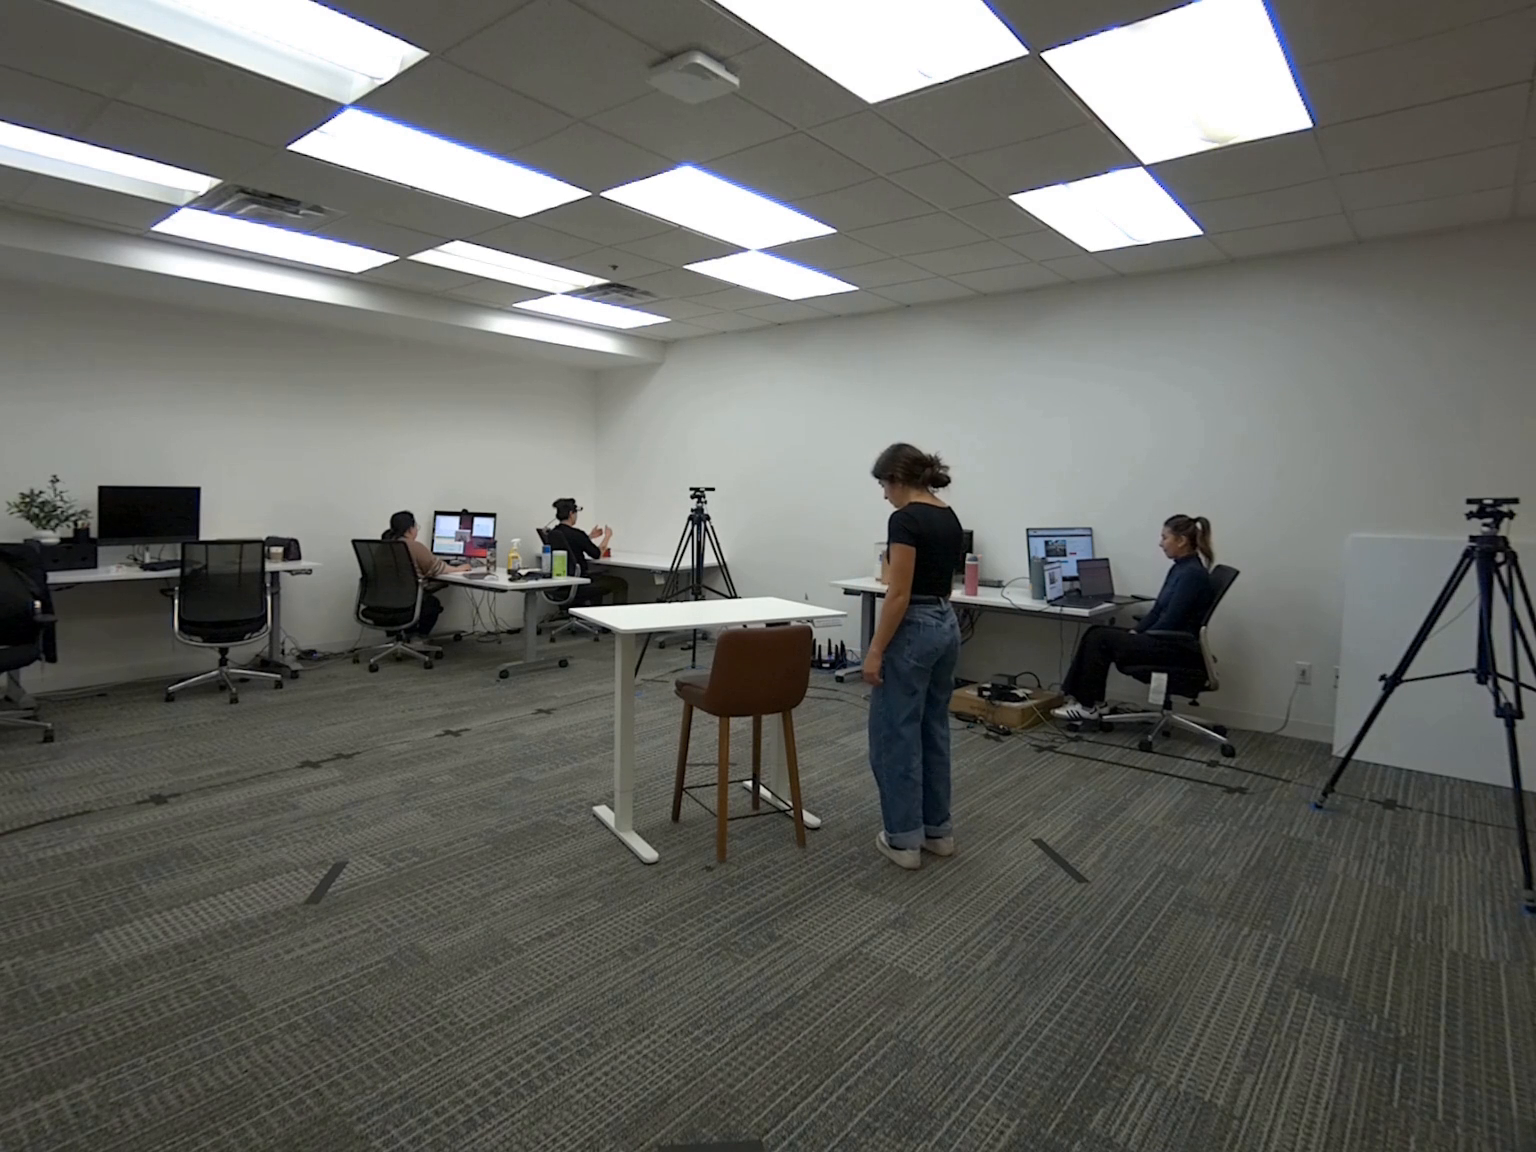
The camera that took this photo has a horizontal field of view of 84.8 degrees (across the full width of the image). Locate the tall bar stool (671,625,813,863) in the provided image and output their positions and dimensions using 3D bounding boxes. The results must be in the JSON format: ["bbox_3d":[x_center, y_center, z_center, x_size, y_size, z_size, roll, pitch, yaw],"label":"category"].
[{"bbox_3d":[-0.113,0.611,3.417,0.445,0.886,0.482,0,5,-27],"label":"tall bar stool"}]
